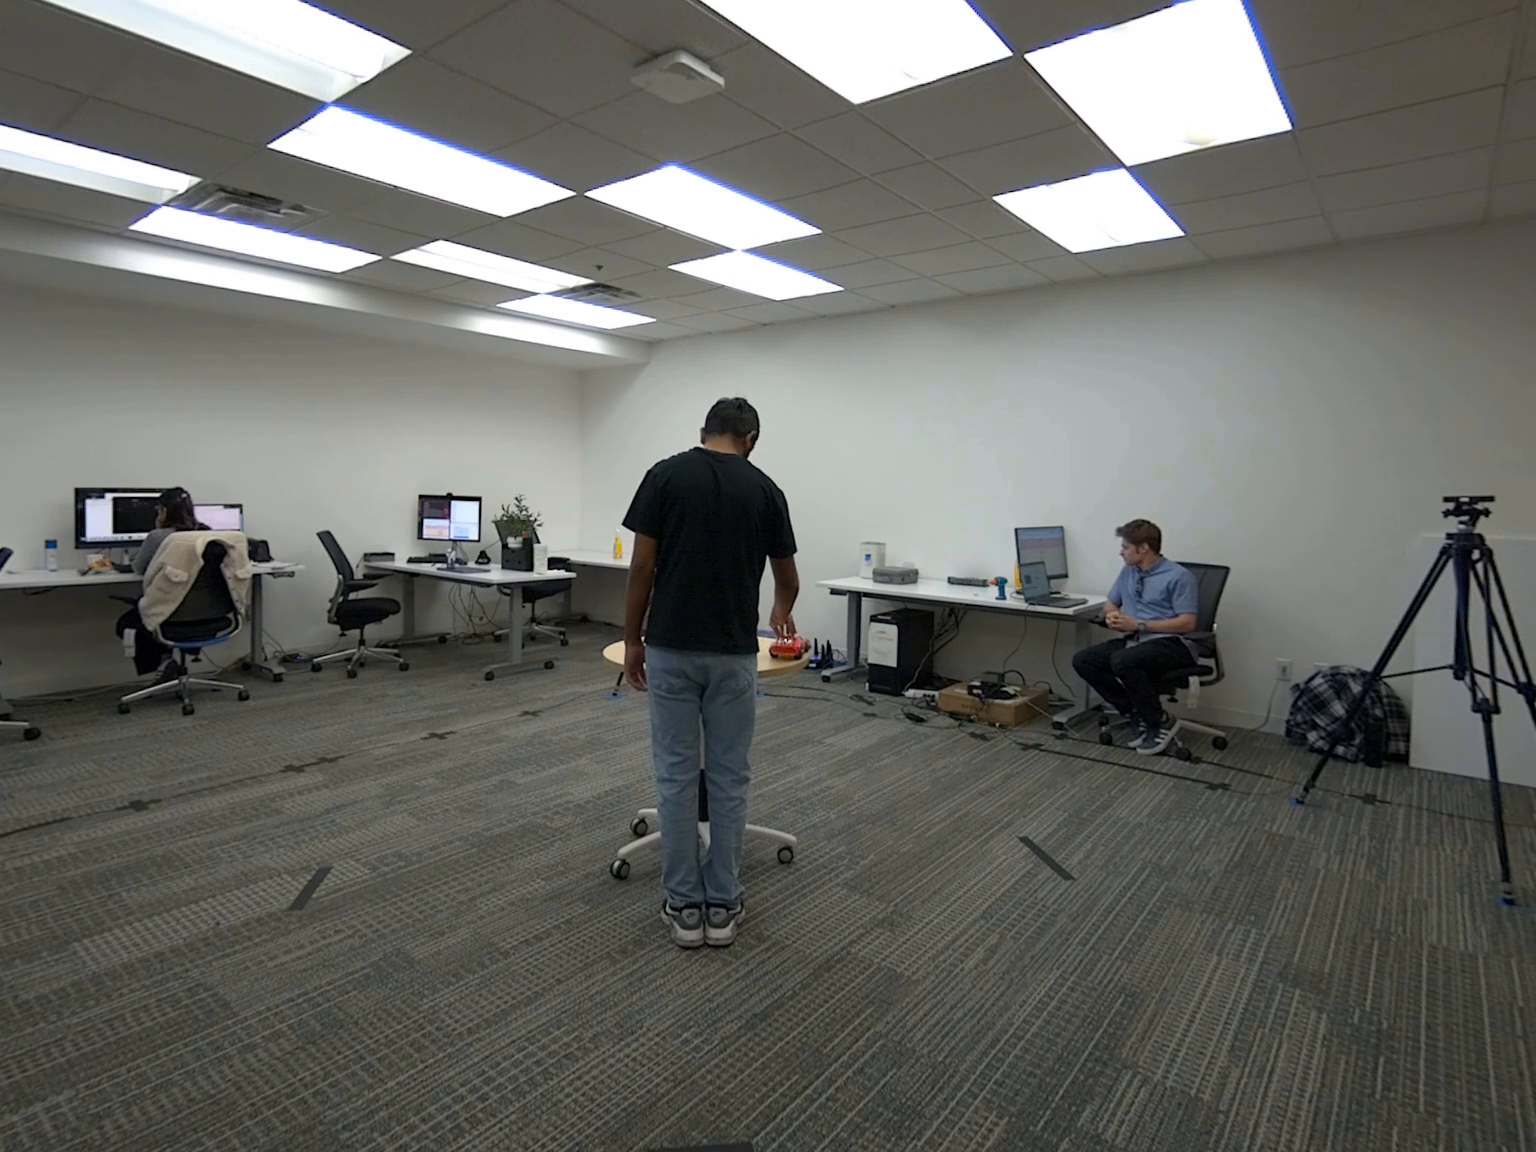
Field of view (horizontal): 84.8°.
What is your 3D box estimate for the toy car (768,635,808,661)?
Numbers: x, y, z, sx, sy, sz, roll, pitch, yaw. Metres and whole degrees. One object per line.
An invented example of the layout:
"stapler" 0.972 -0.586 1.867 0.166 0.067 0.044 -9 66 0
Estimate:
"toy car" 0.065 0.257 3.112 0.132 0.084 0.249 3 -5 14
